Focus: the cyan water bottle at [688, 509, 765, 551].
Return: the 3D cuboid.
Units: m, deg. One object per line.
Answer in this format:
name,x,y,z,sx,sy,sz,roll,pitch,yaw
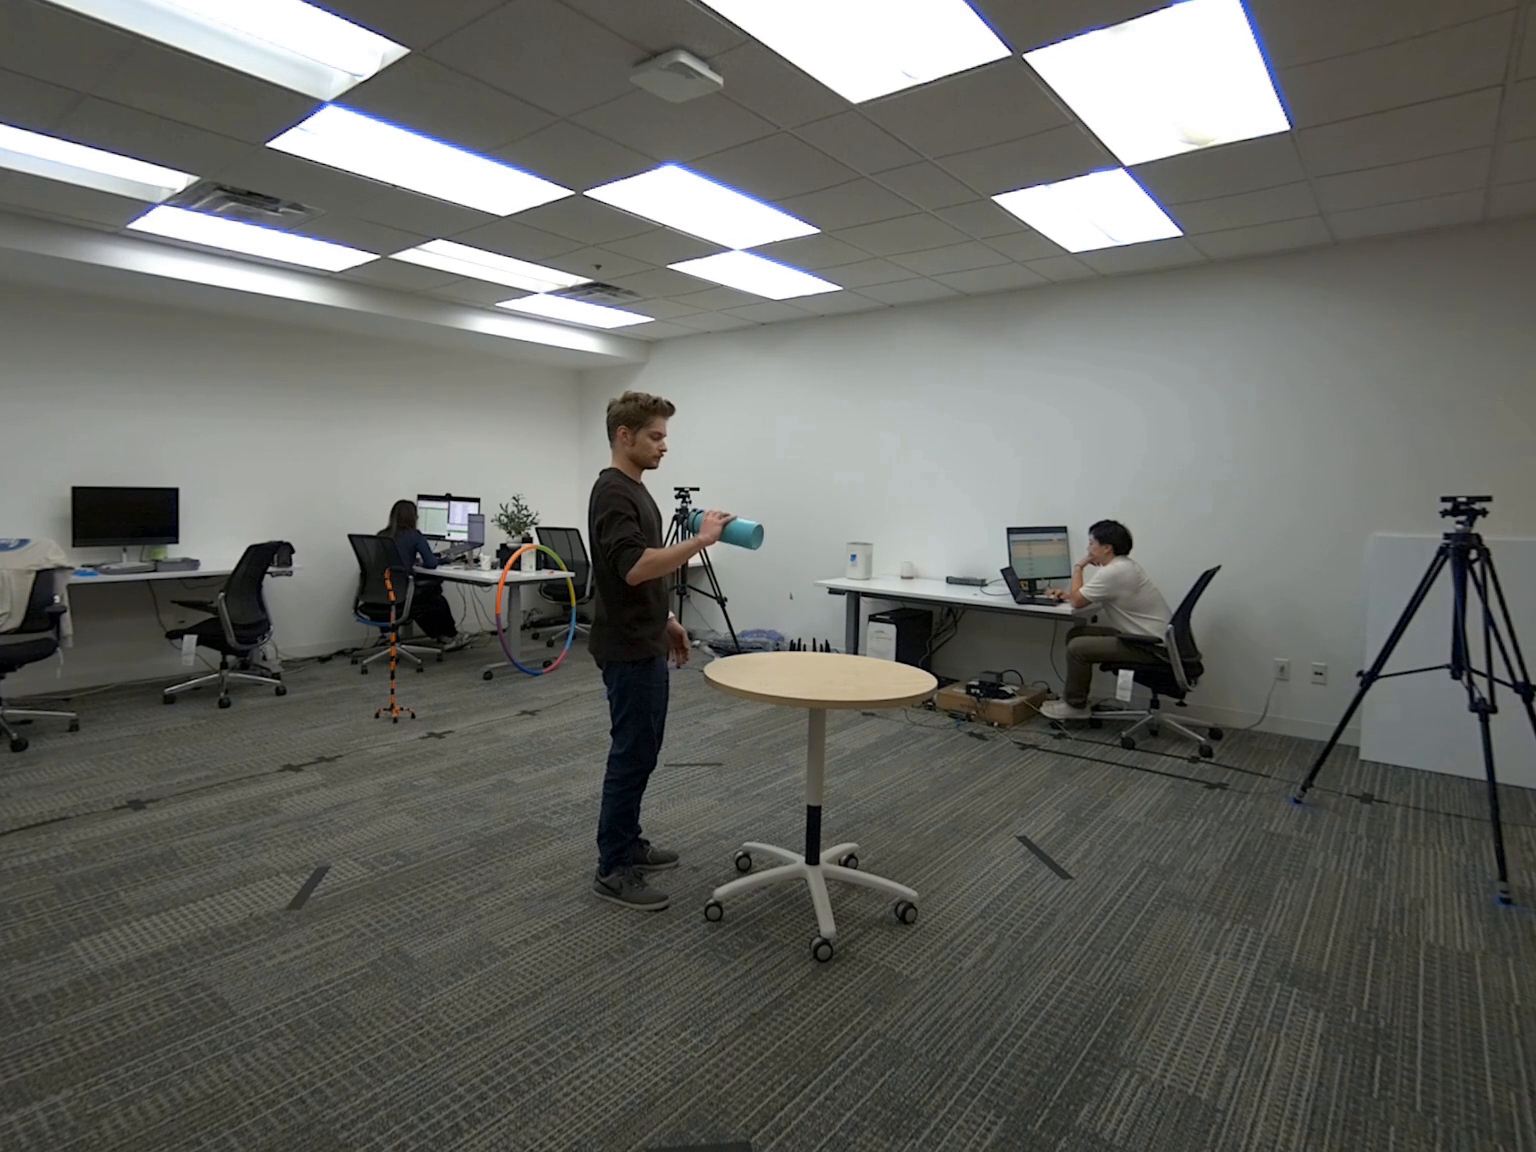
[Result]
cyan water bottle,-0.160,-0.158,2.840,0.293,0.092,0.090,15,11,30
